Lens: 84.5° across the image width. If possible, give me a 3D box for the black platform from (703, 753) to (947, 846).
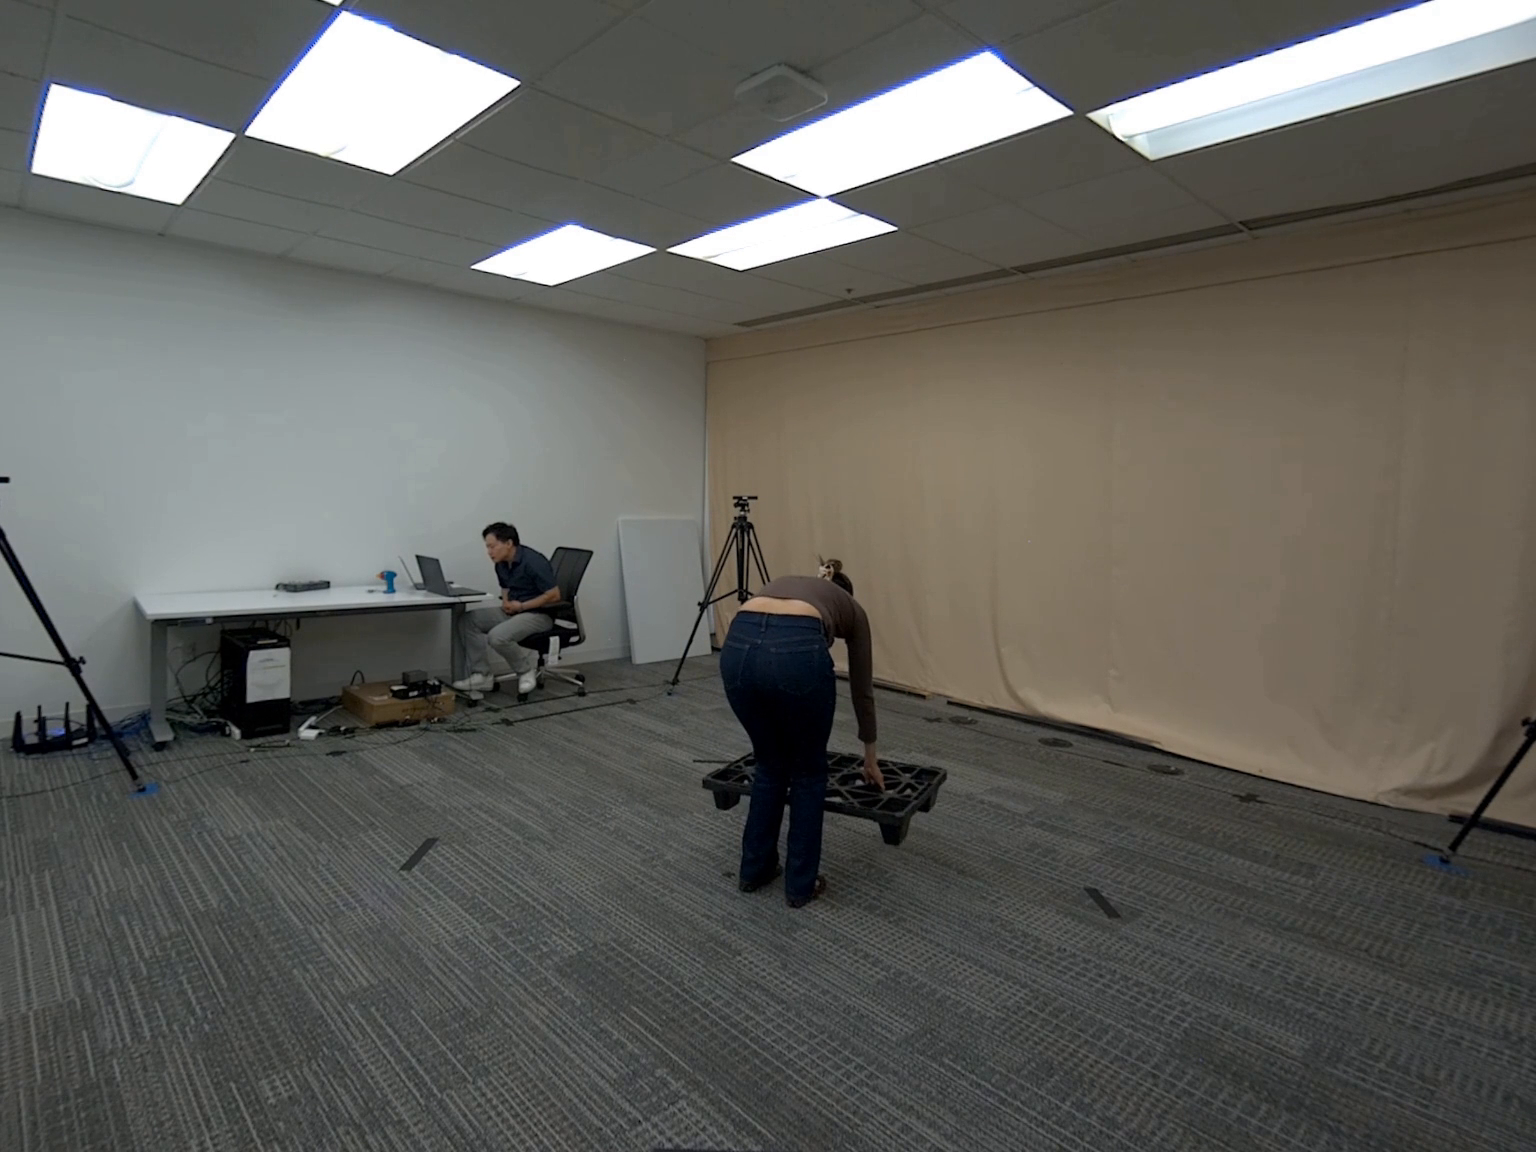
[{"bbox_3d":[0.224,0.842,3.296,0.822,0.143,0.594,3,6,28],"label":"black platform"}]
